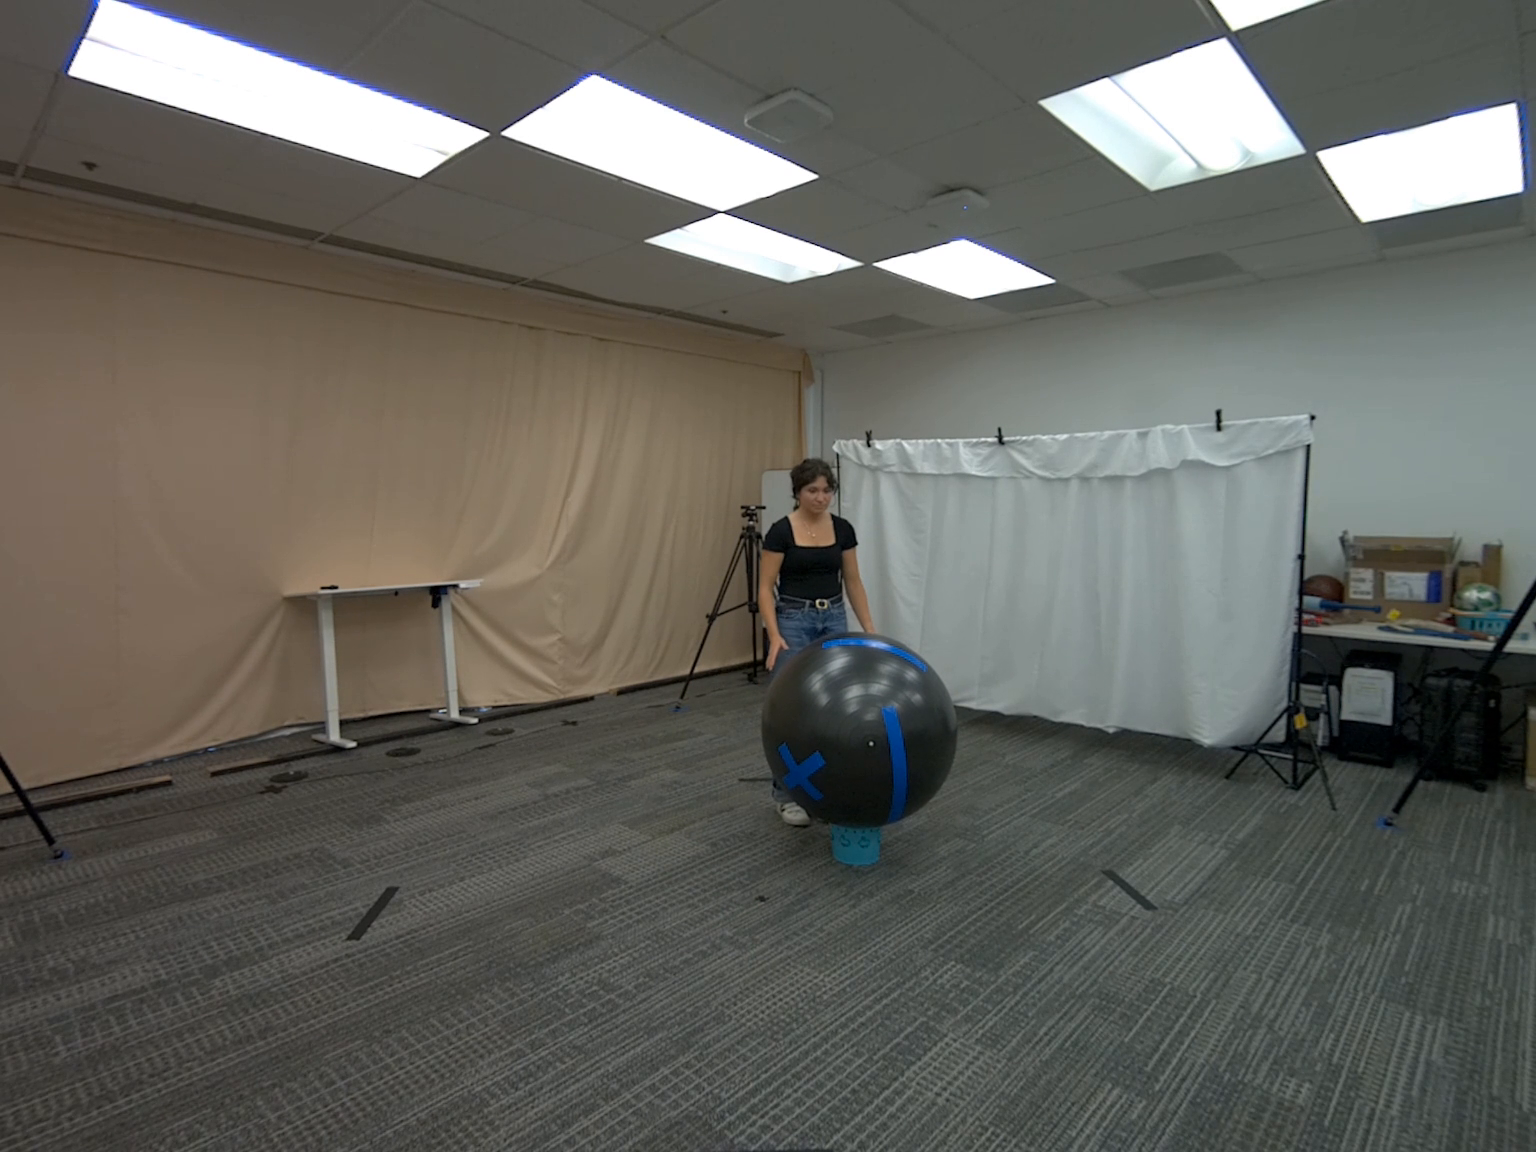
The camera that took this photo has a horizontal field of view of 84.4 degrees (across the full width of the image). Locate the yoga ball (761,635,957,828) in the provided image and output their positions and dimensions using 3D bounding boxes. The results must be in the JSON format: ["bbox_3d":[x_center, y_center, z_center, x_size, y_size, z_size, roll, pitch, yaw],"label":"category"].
[{"bbox_3d":[0.362,0.606,3.327,0.757,0.756,0.760,0,4,-2],"label":"yoga ball"}]
